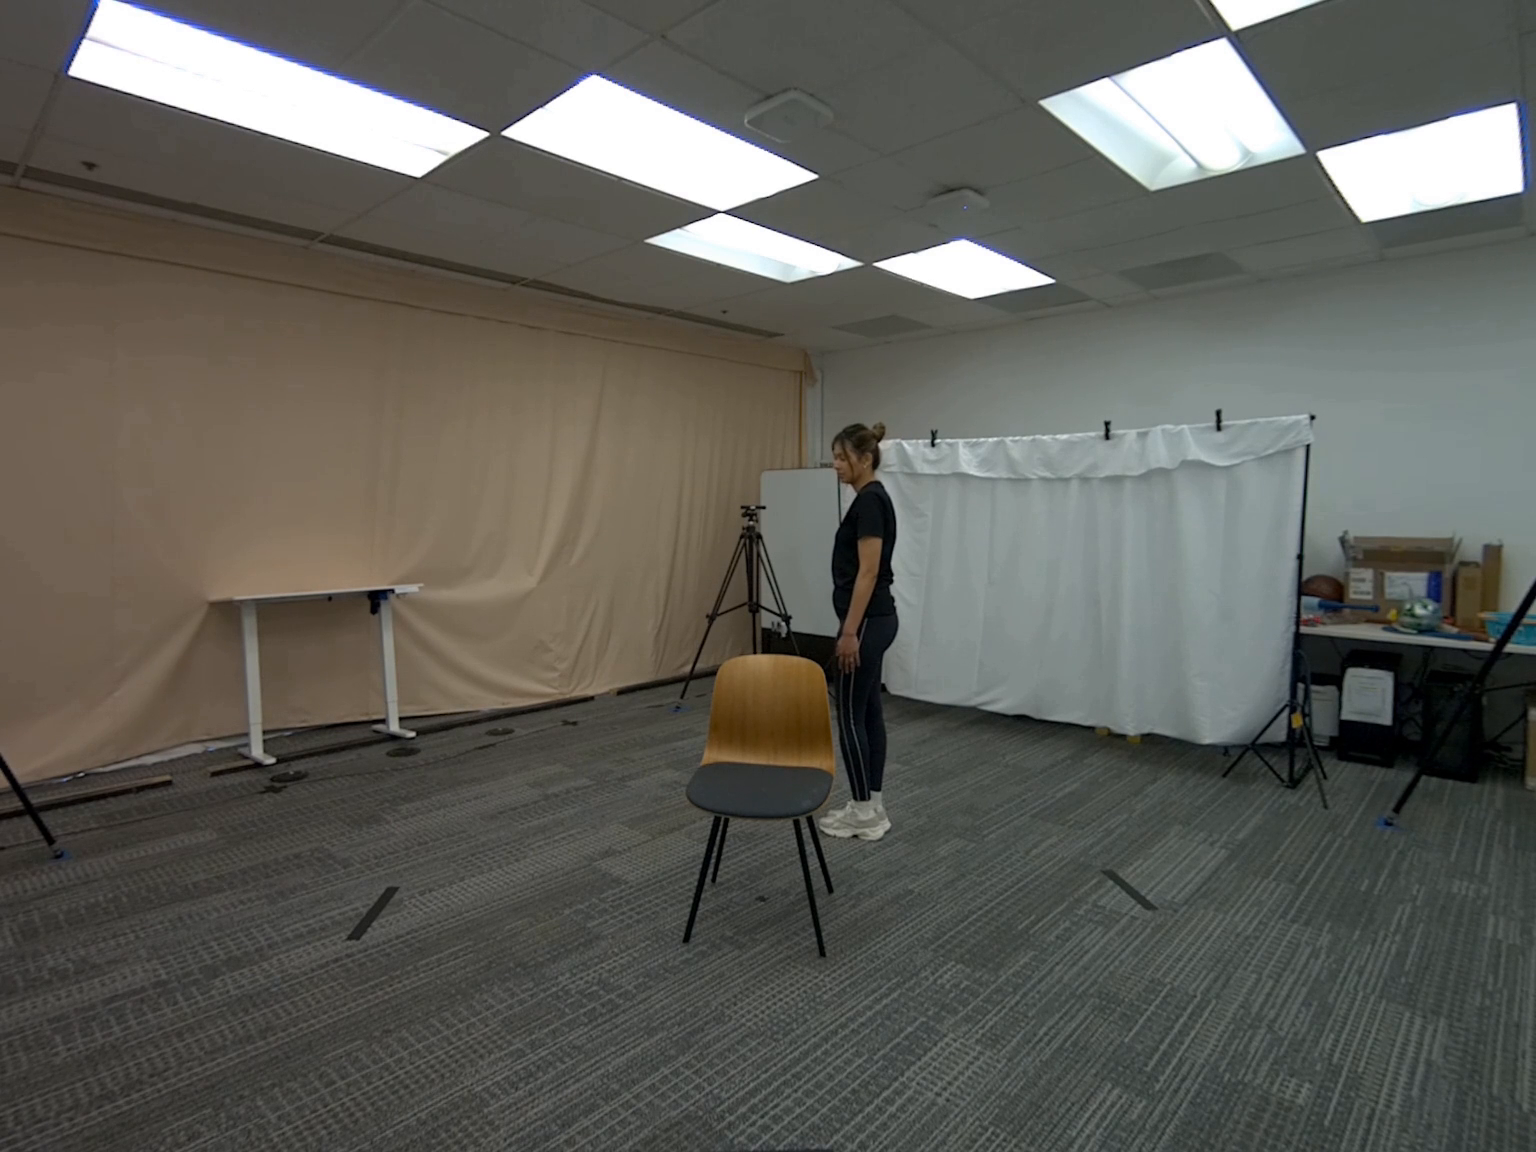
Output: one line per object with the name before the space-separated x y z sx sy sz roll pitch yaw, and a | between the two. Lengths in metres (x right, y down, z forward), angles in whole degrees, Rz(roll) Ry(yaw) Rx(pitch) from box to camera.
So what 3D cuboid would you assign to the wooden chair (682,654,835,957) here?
wooden chair | -0.012 0.730 2.817 0.484 0.878 0.517 1 0 10
